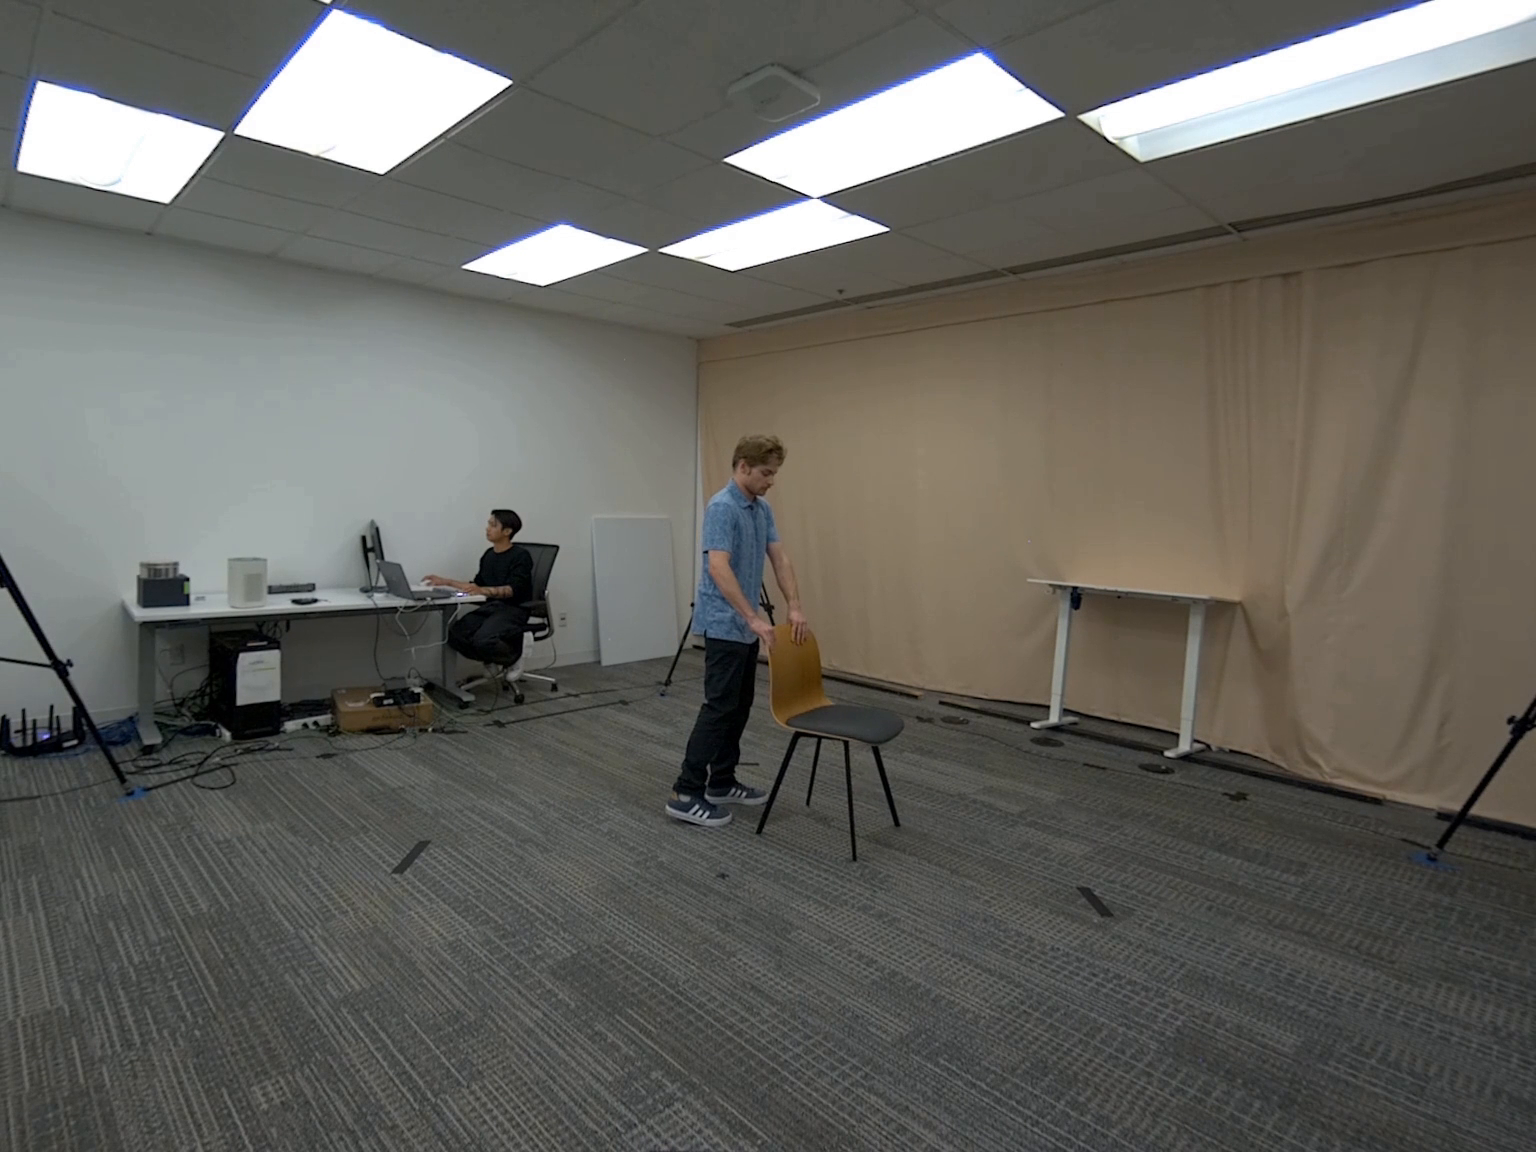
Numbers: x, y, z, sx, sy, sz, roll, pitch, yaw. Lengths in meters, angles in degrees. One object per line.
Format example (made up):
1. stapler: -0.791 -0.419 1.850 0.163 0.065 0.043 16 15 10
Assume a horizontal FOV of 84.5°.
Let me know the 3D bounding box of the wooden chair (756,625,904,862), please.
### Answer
1. wooden chair: 0.268 0.648 3.527 0.534 0.877 0.468 -2 1 33
